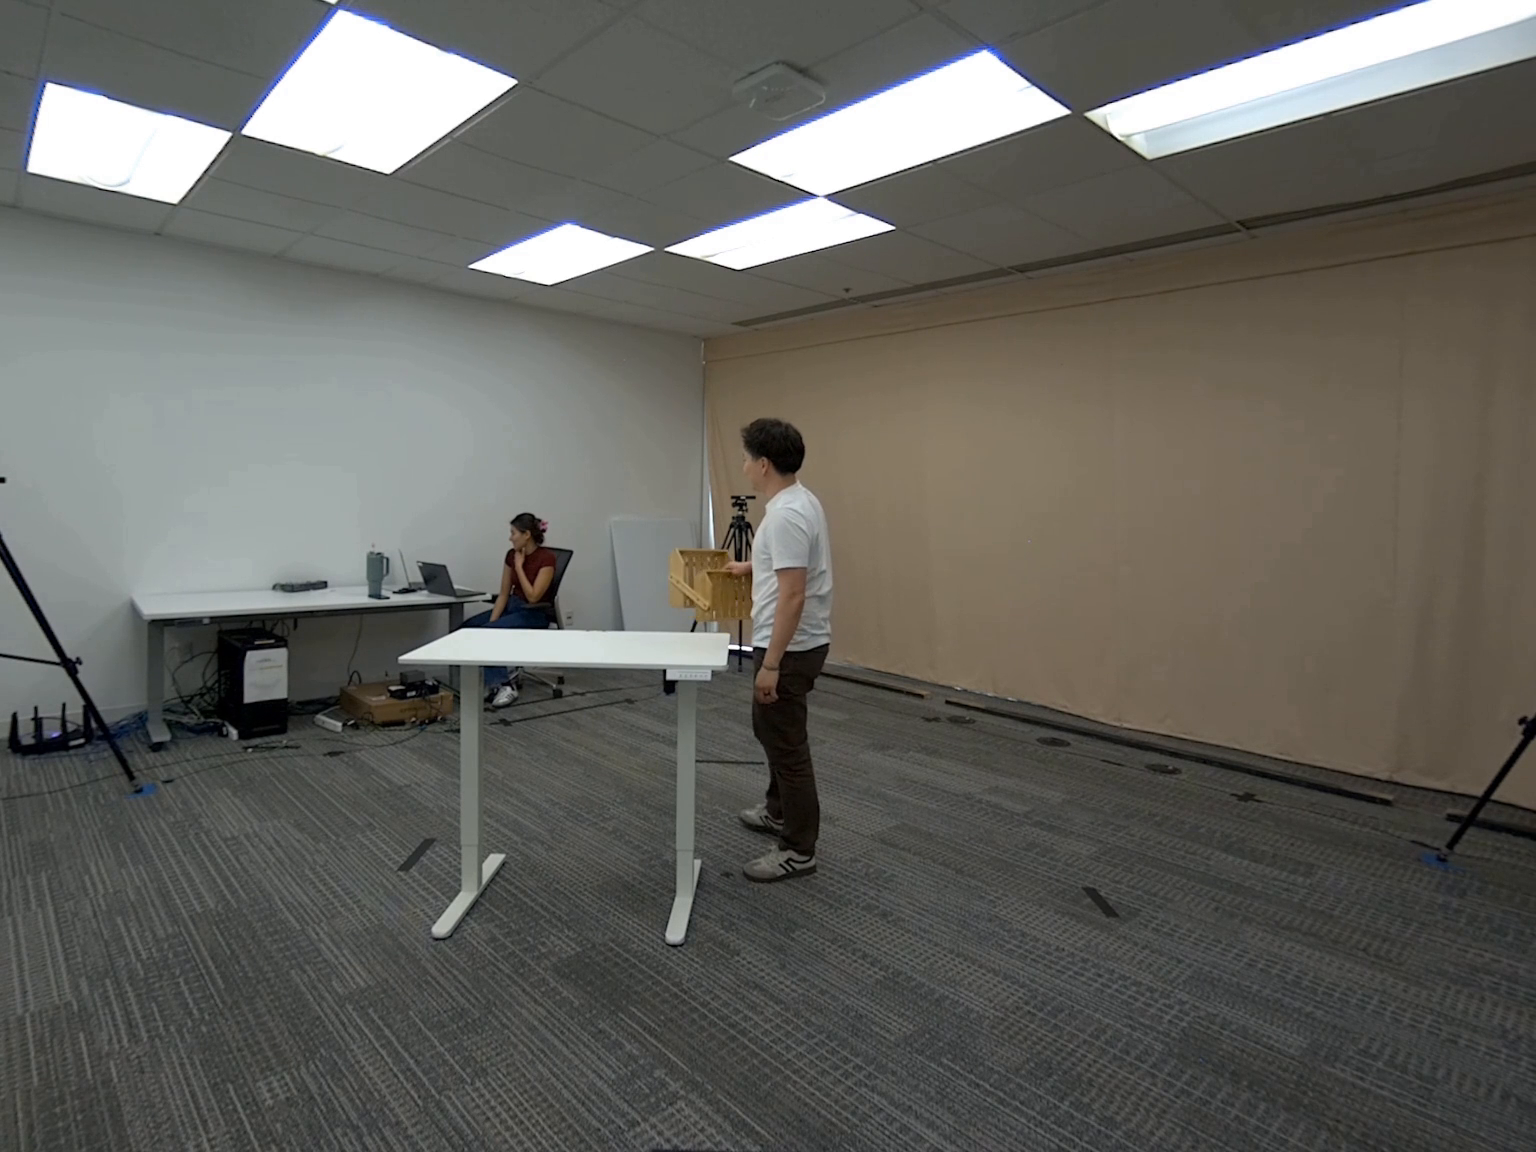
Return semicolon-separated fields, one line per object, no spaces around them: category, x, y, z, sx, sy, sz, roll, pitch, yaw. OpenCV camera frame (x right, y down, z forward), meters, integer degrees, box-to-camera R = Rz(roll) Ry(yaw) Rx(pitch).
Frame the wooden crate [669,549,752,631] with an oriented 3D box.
wooden crate;-0.224;0.034;3.557;0.317;0.302;0.279;0;-2;-44
